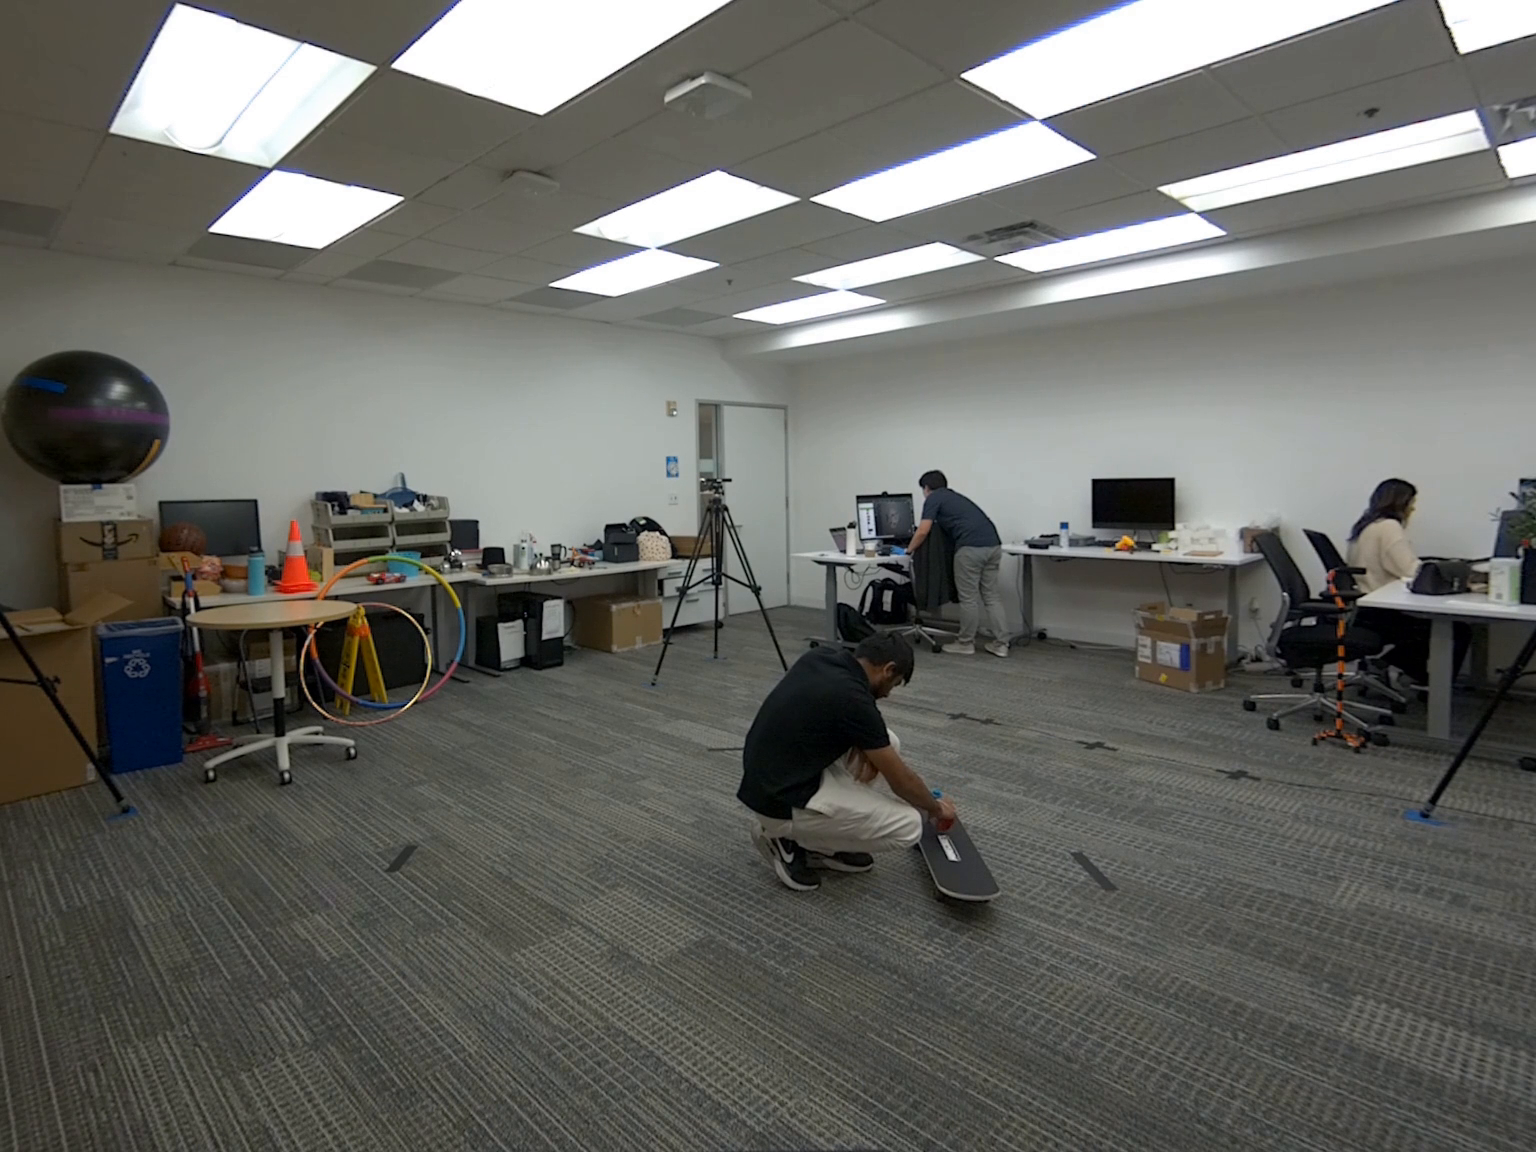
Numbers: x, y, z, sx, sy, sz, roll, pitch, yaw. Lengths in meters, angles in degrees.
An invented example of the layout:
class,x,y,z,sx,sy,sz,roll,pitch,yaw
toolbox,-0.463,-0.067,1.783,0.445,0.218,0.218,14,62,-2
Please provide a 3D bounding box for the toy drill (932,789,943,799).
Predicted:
class,x,y,z,sx,sy,sz,roll,pitch,yaw
toy drill,0.626,0.874,3.151,0.061,0.166,0.150,-1,36,-6
